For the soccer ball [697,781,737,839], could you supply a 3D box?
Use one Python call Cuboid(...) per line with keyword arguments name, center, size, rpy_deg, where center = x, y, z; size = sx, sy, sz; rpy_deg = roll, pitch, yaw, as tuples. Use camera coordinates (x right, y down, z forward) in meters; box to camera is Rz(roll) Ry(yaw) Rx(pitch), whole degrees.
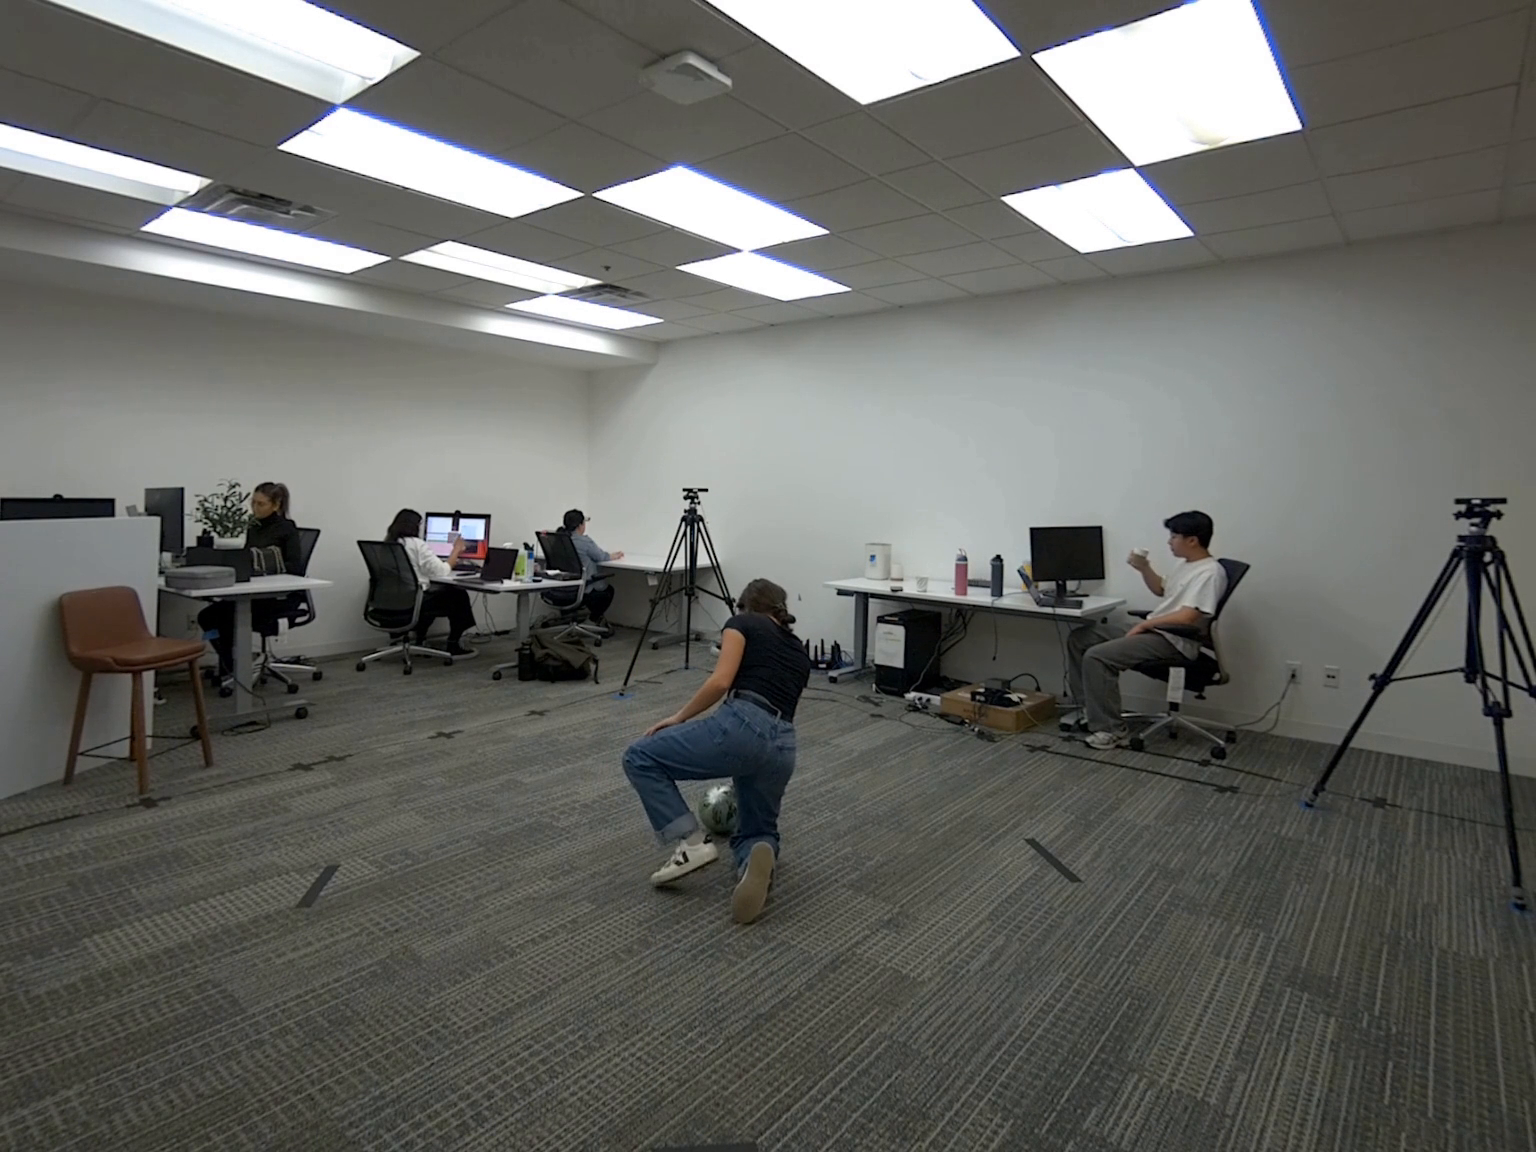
Cuboid(name="soccer ball", center=(-0.179, 0.932, 3.452), size=(0.187, 0.187, 0.188), rpy_deg=(1, 4, -2))
